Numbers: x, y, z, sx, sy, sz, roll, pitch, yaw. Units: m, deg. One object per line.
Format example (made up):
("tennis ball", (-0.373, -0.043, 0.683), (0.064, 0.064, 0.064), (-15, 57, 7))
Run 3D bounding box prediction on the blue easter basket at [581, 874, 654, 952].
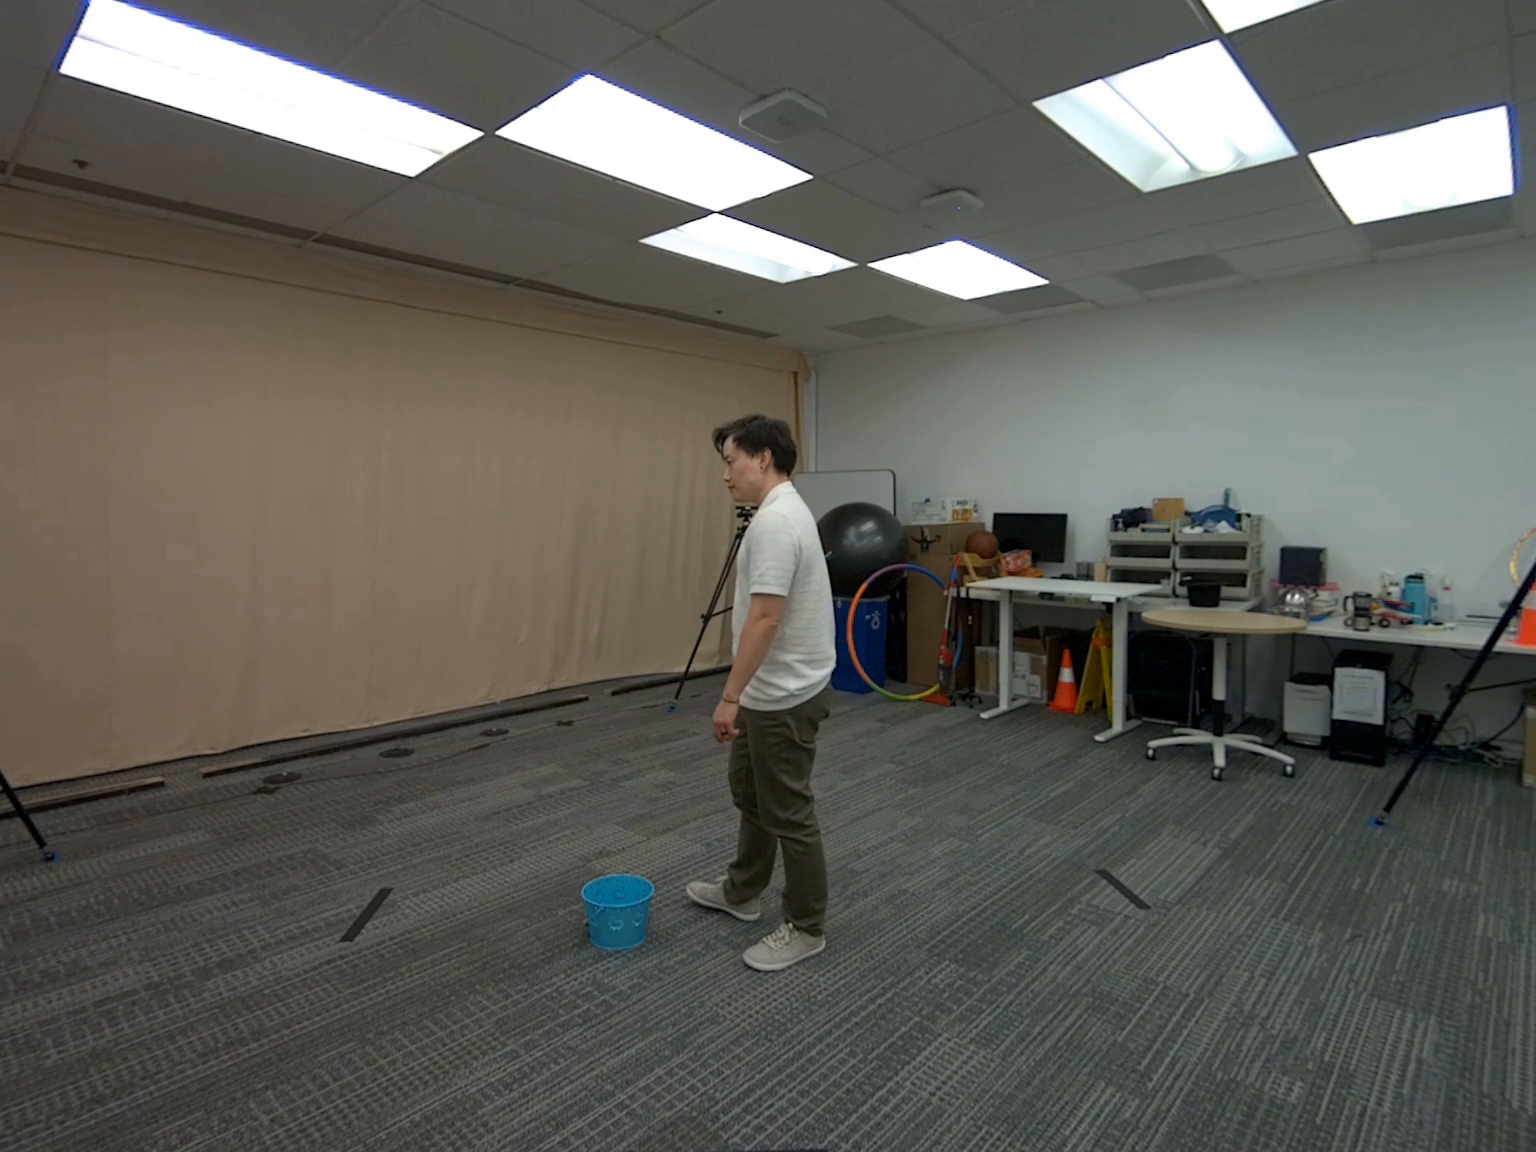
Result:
("blue easter basket", (-0.487, 1.093, 2.734), (0.243, 0.155, 0.244), (0, 4, -2))
